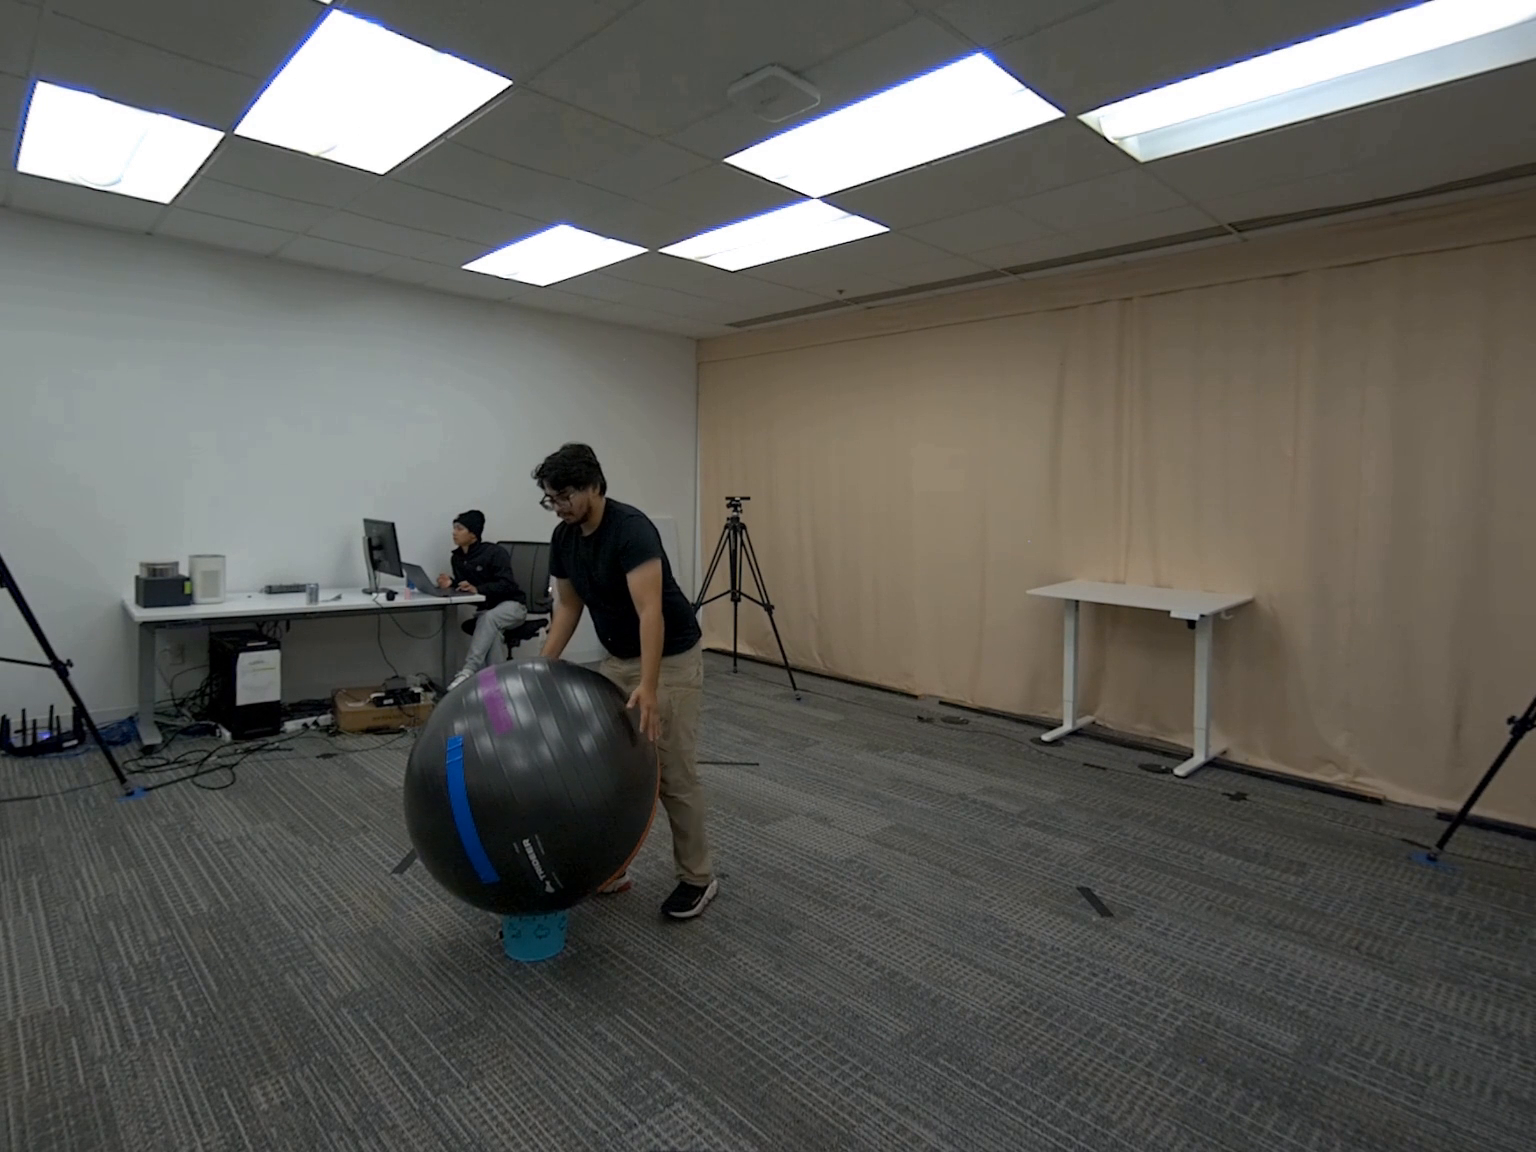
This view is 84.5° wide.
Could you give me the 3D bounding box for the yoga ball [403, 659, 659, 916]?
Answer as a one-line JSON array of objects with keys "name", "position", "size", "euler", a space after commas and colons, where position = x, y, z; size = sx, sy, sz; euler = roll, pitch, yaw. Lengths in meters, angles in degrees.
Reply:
[{"name": "yoga ball", "position": [-0.723, 0.639, 2.566], "size": [0.757, 0.756, 0.761], "euler": [1, 4, -1]}]
